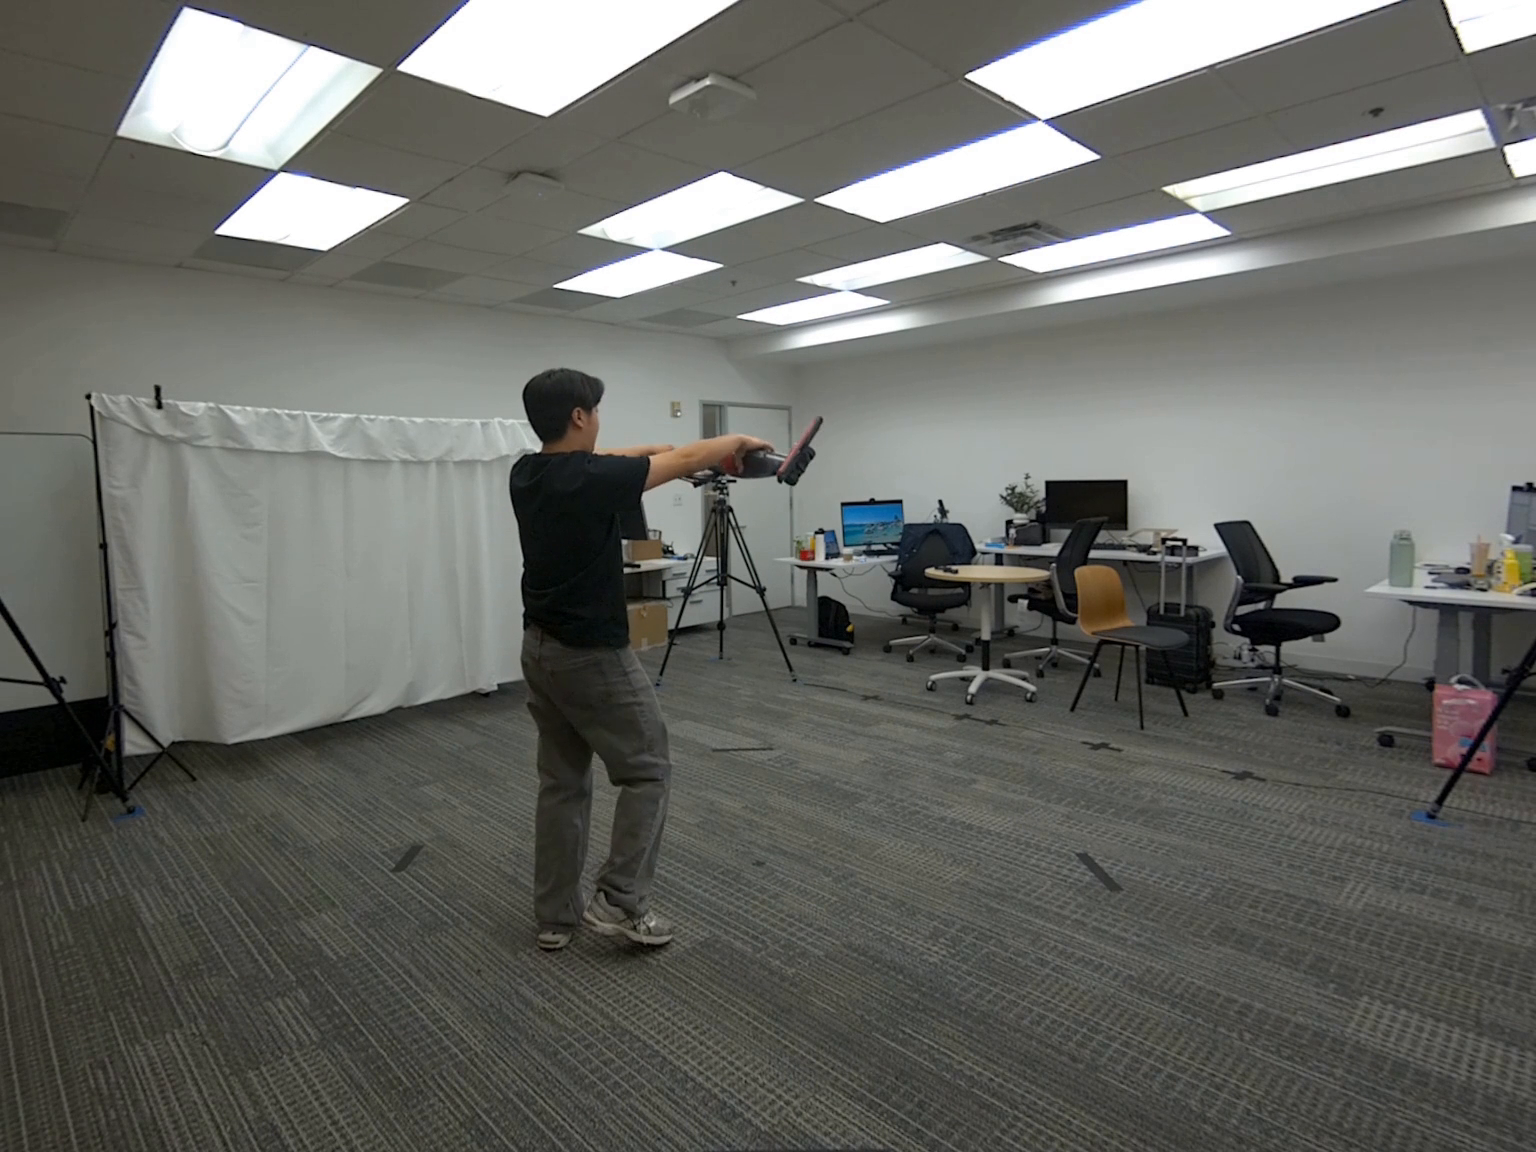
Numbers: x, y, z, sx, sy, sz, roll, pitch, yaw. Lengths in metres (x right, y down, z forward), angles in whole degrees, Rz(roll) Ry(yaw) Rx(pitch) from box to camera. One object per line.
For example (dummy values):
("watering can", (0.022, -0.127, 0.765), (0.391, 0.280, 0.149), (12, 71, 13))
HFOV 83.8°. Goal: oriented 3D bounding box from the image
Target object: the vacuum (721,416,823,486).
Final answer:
("vacuum", (-0.246, -0.404, 3.057), (1.081, 0.139, 0.253), (5, 46, 50))
